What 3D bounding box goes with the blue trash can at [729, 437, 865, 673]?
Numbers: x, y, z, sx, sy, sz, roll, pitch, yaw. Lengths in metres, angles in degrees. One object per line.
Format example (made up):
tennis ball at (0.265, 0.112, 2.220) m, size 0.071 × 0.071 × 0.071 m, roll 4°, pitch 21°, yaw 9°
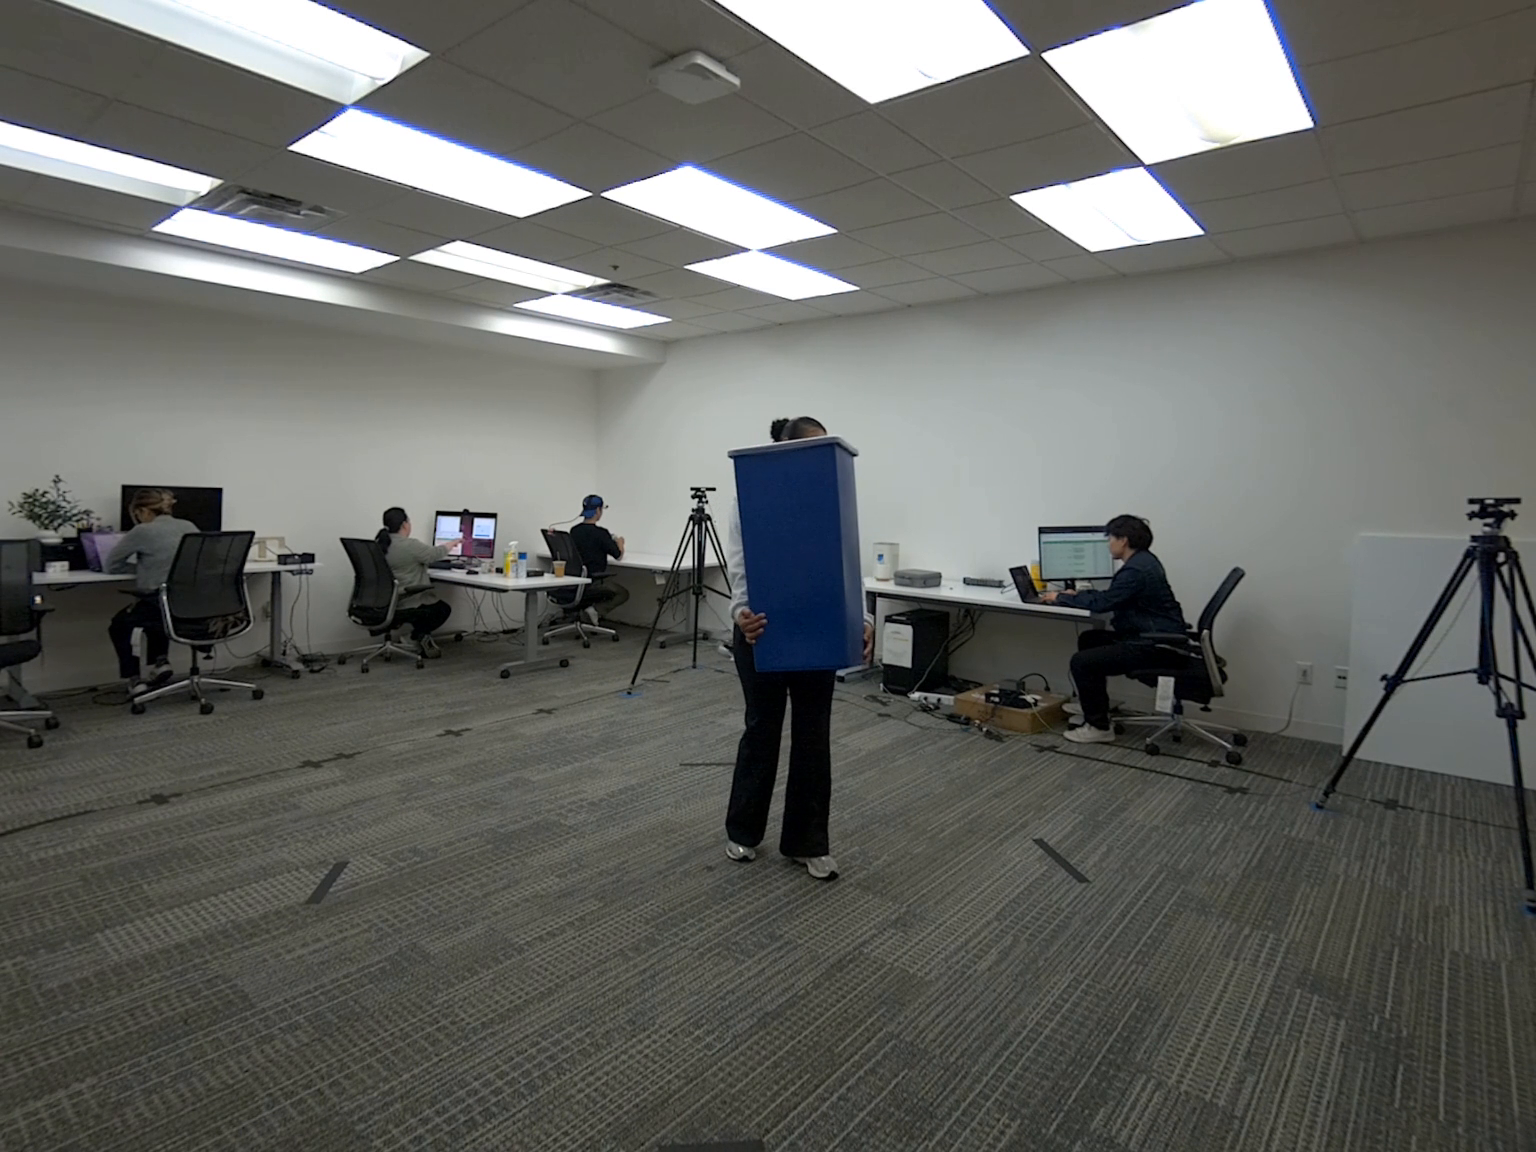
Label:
blue trash can at (0.101, -0.069, 2.803) m, size 0.381 × 0.717 × 0.369 m, roll -5°, pitch -4°, yaw 18°
